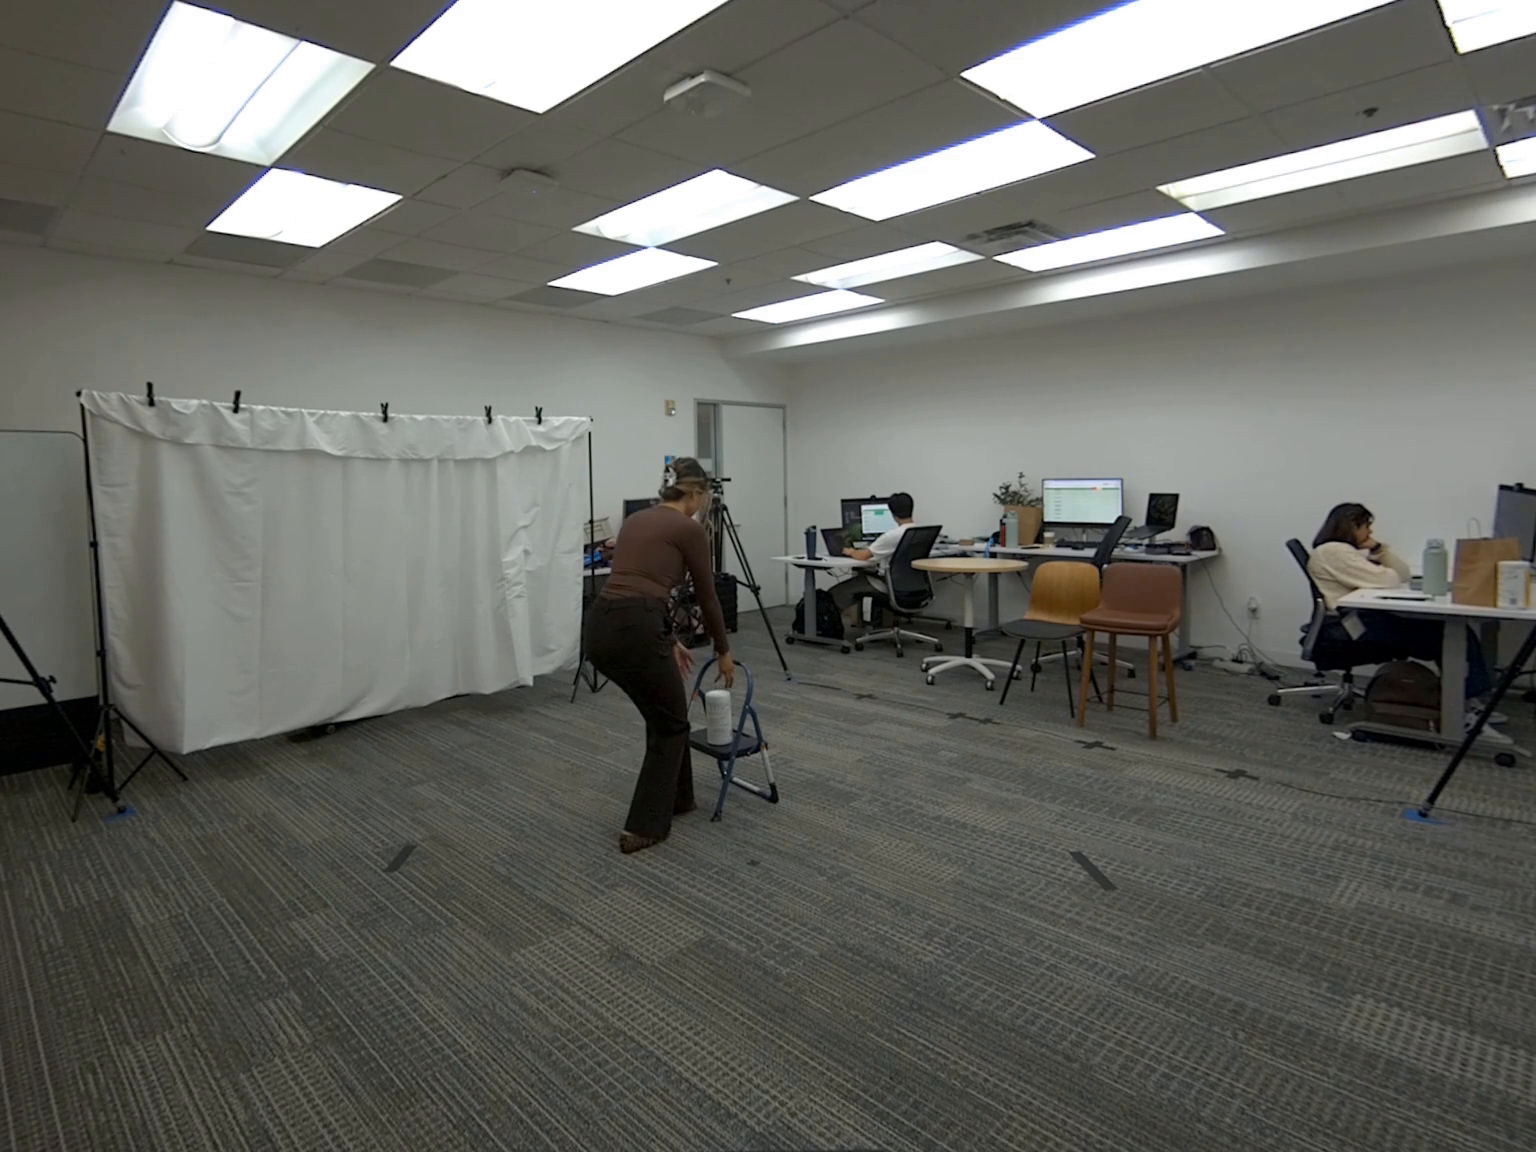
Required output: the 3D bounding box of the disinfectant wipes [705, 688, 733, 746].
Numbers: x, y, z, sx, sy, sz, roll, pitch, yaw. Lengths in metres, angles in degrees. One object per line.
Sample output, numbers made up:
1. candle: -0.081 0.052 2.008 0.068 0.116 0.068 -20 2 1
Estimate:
1. disinfectant wipes: -0.205 0.613 3.694 0.118 0.217 0.118 -4 4 -1
